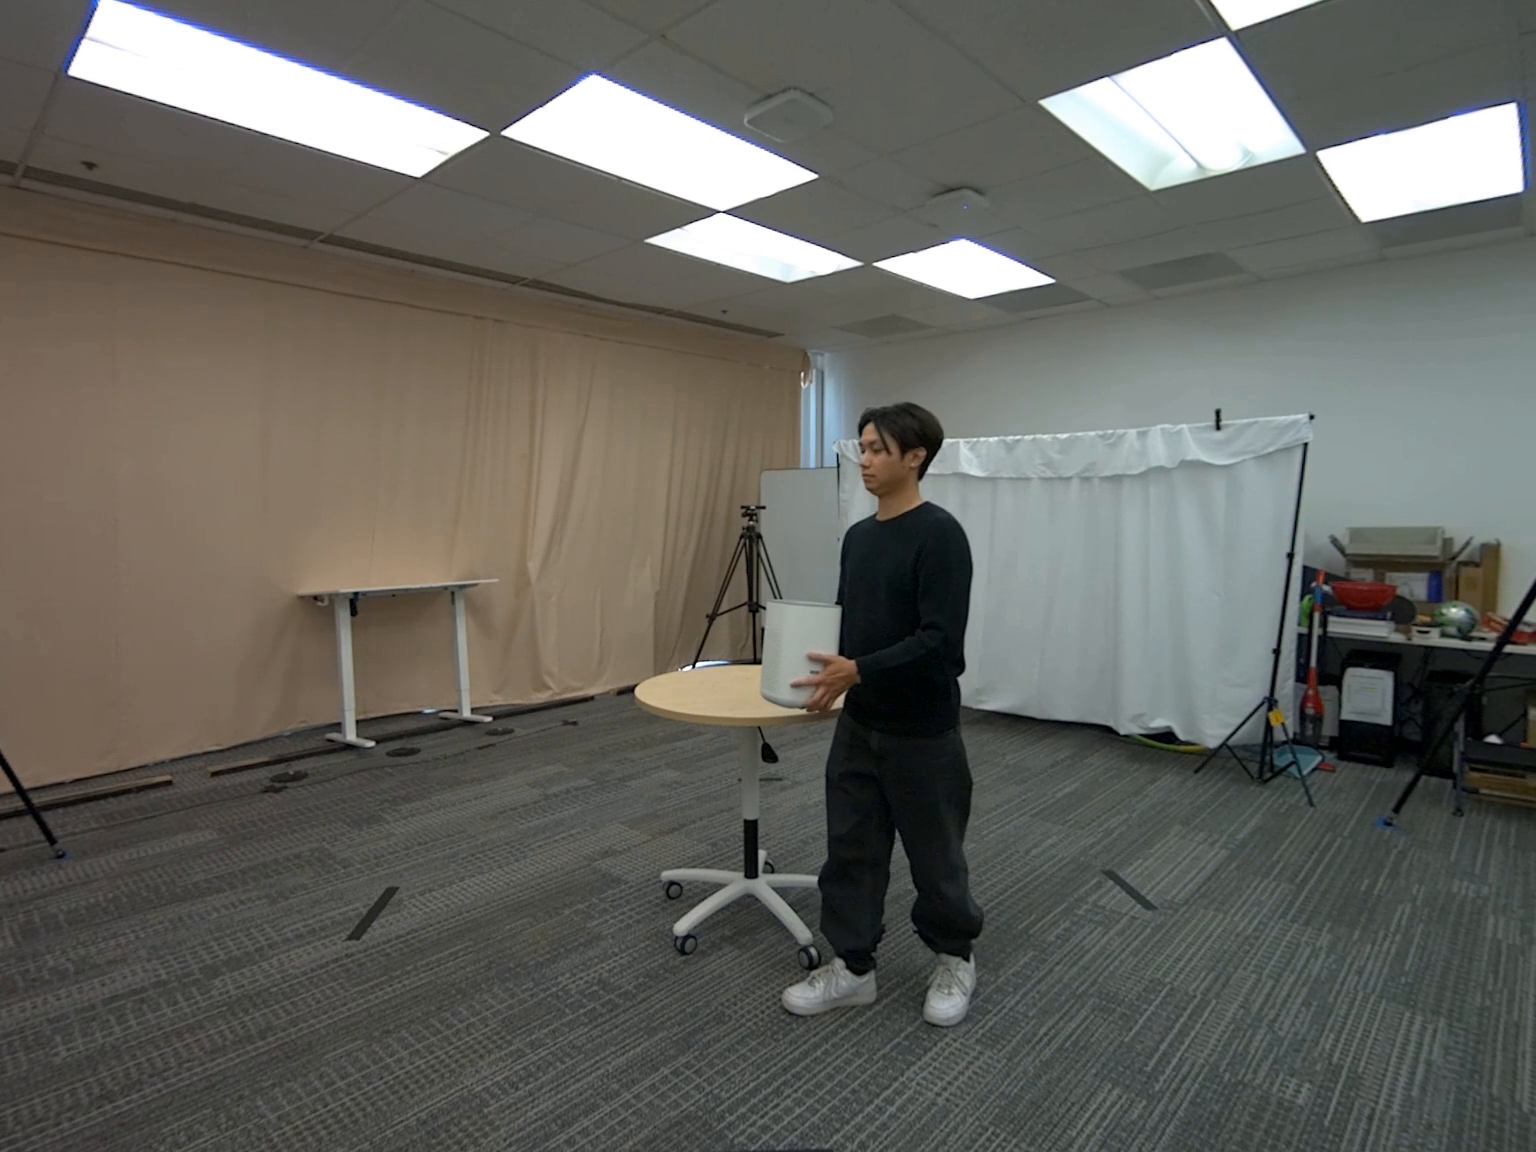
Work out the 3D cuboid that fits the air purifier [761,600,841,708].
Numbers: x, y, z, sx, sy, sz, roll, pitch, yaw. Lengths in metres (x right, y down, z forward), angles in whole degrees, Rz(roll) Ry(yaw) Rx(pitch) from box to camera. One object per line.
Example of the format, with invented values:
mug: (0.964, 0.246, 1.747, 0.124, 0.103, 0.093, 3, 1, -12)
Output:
air purifier: (0.091, 0.201, 2.182, 0.167, 0.265, 0.176, 5, 0, -25)
